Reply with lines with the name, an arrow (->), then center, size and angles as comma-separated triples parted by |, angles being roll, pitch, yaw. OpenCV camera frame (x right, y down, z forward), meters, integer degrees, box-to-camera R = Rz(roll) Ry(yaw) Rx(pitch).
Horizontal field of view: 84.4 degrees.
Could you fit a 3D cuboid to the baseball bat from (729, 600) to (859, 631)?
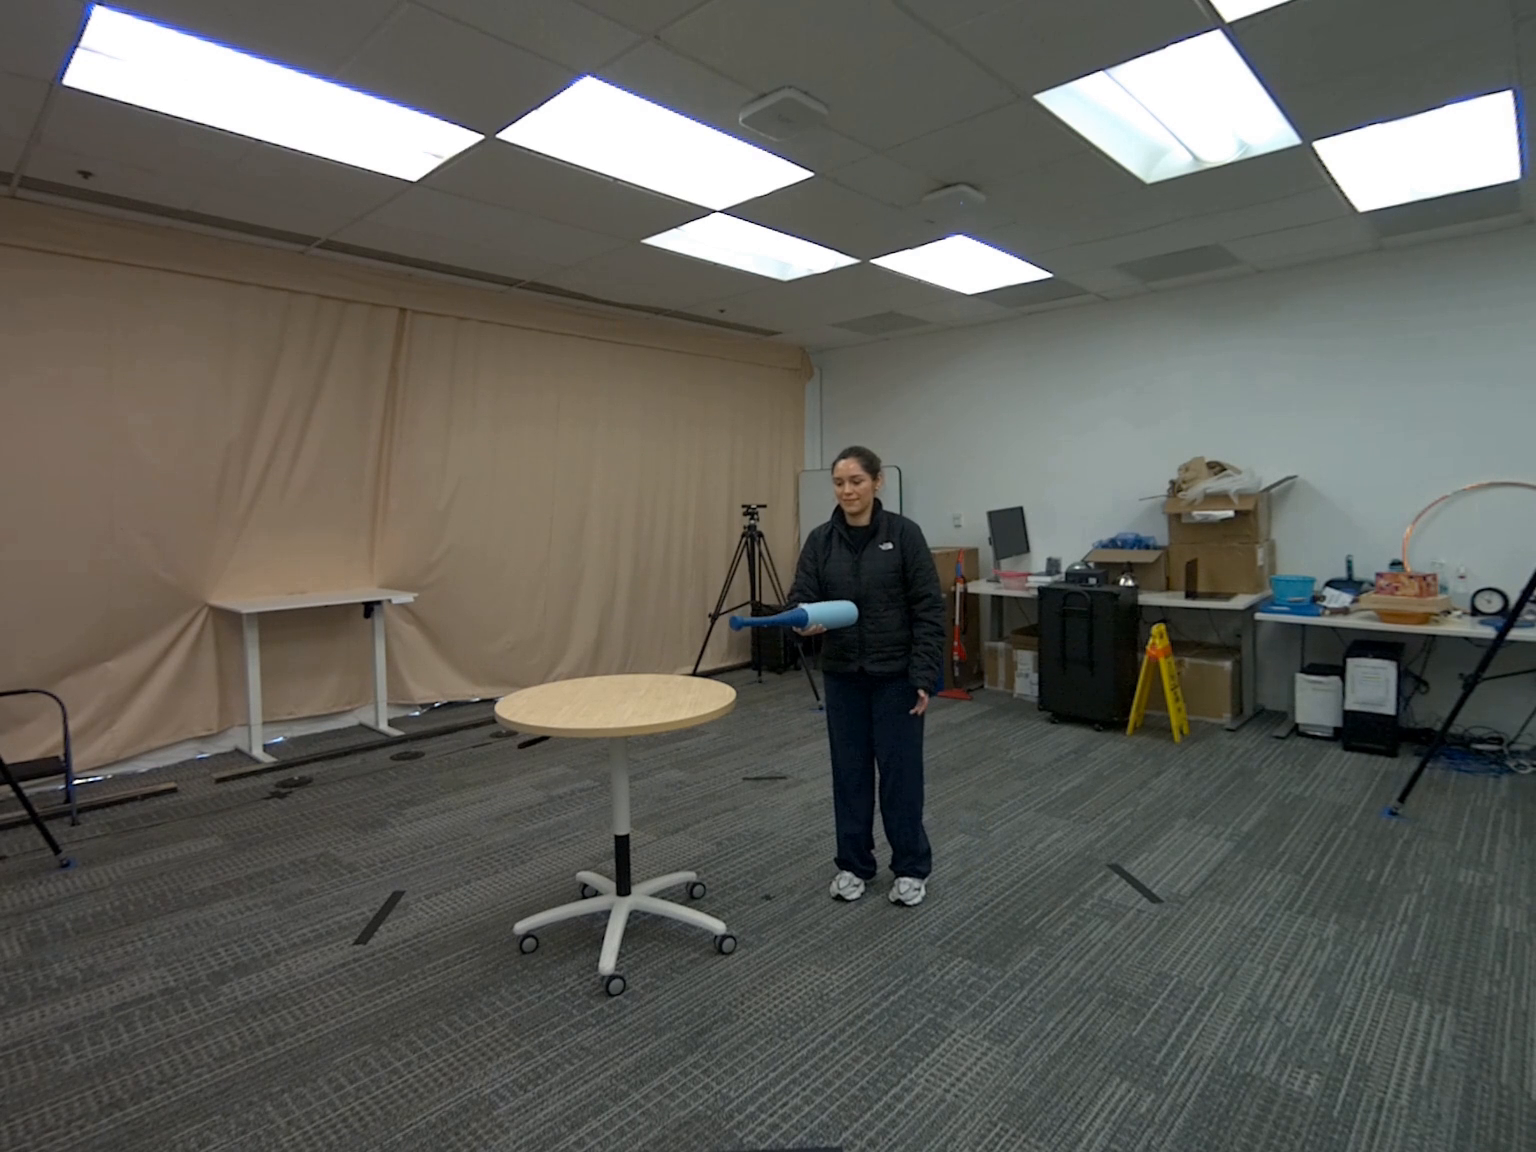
baseball bat -> 0.090, 0.118, 2.614 | 0.526, 0.089, 0.092 | 0, 2, -45
